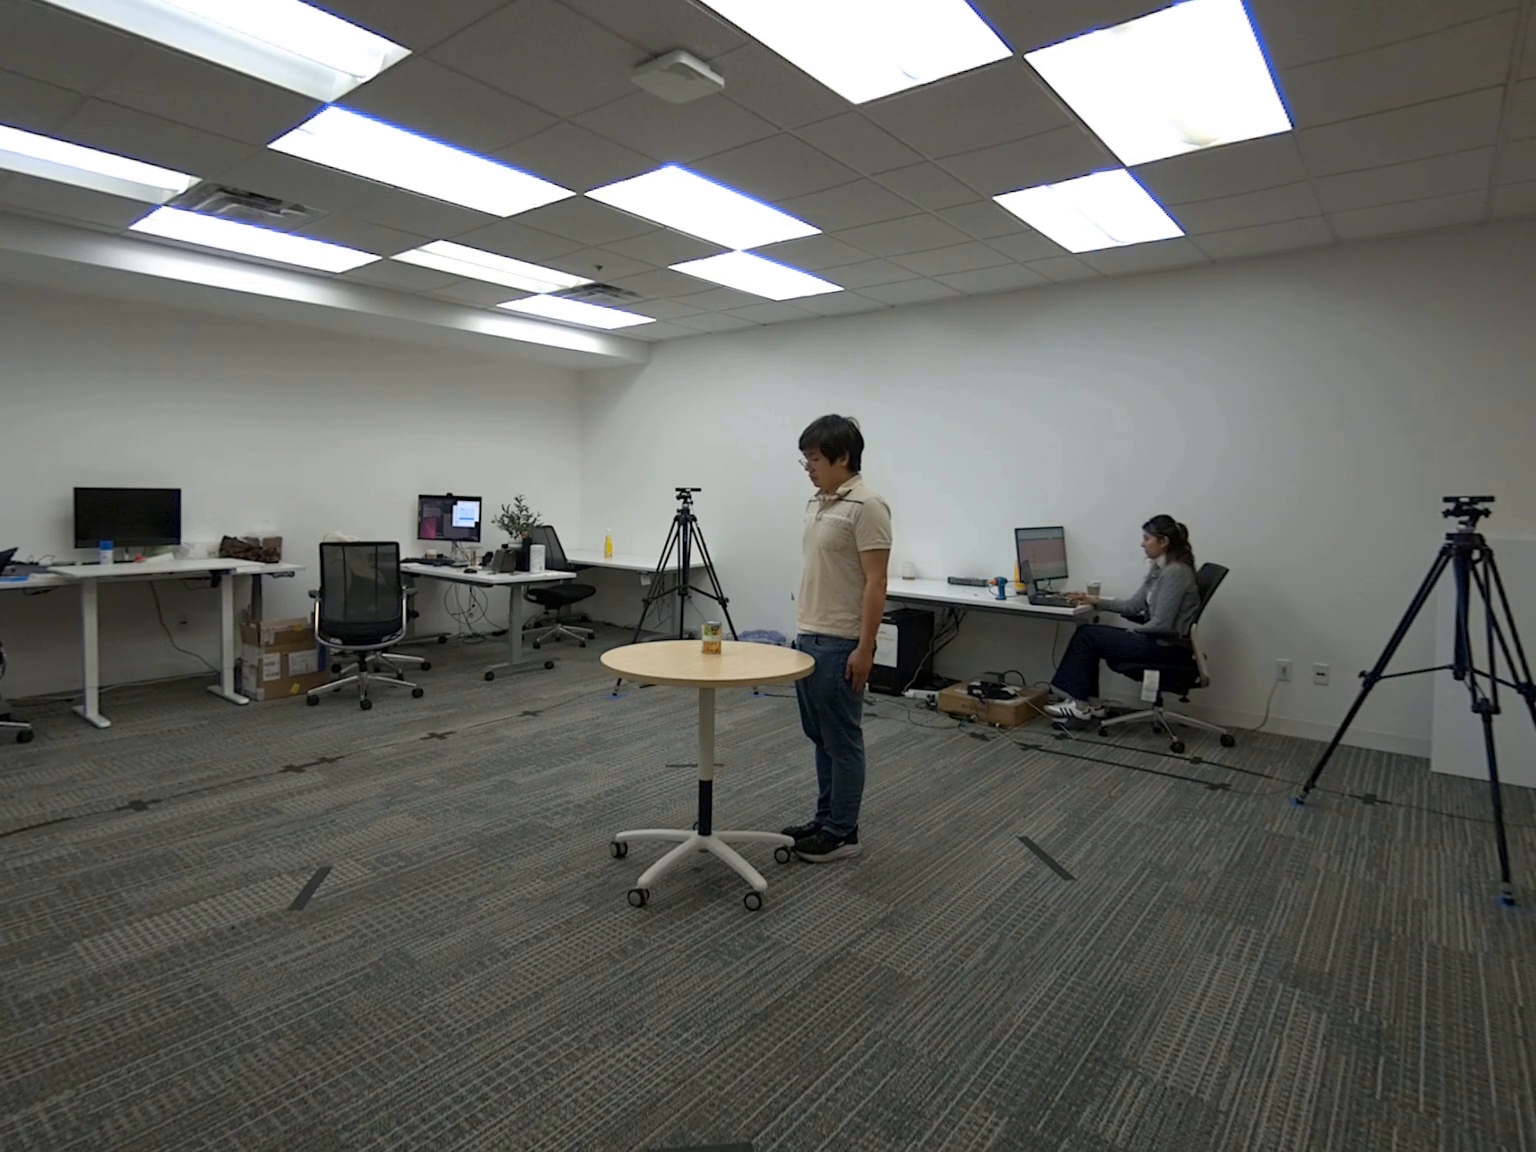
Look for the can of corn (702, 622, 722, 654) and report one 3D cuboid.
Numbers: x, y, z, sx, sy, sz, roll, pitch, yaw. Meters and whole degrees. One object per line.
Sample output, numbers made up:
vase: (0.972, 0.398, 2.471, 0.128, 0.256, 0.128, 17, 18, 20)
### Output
can of corn: (-0.222, 0.226, 3.166, 0.074, 0.111, 0.074, 5, 4, -2)
